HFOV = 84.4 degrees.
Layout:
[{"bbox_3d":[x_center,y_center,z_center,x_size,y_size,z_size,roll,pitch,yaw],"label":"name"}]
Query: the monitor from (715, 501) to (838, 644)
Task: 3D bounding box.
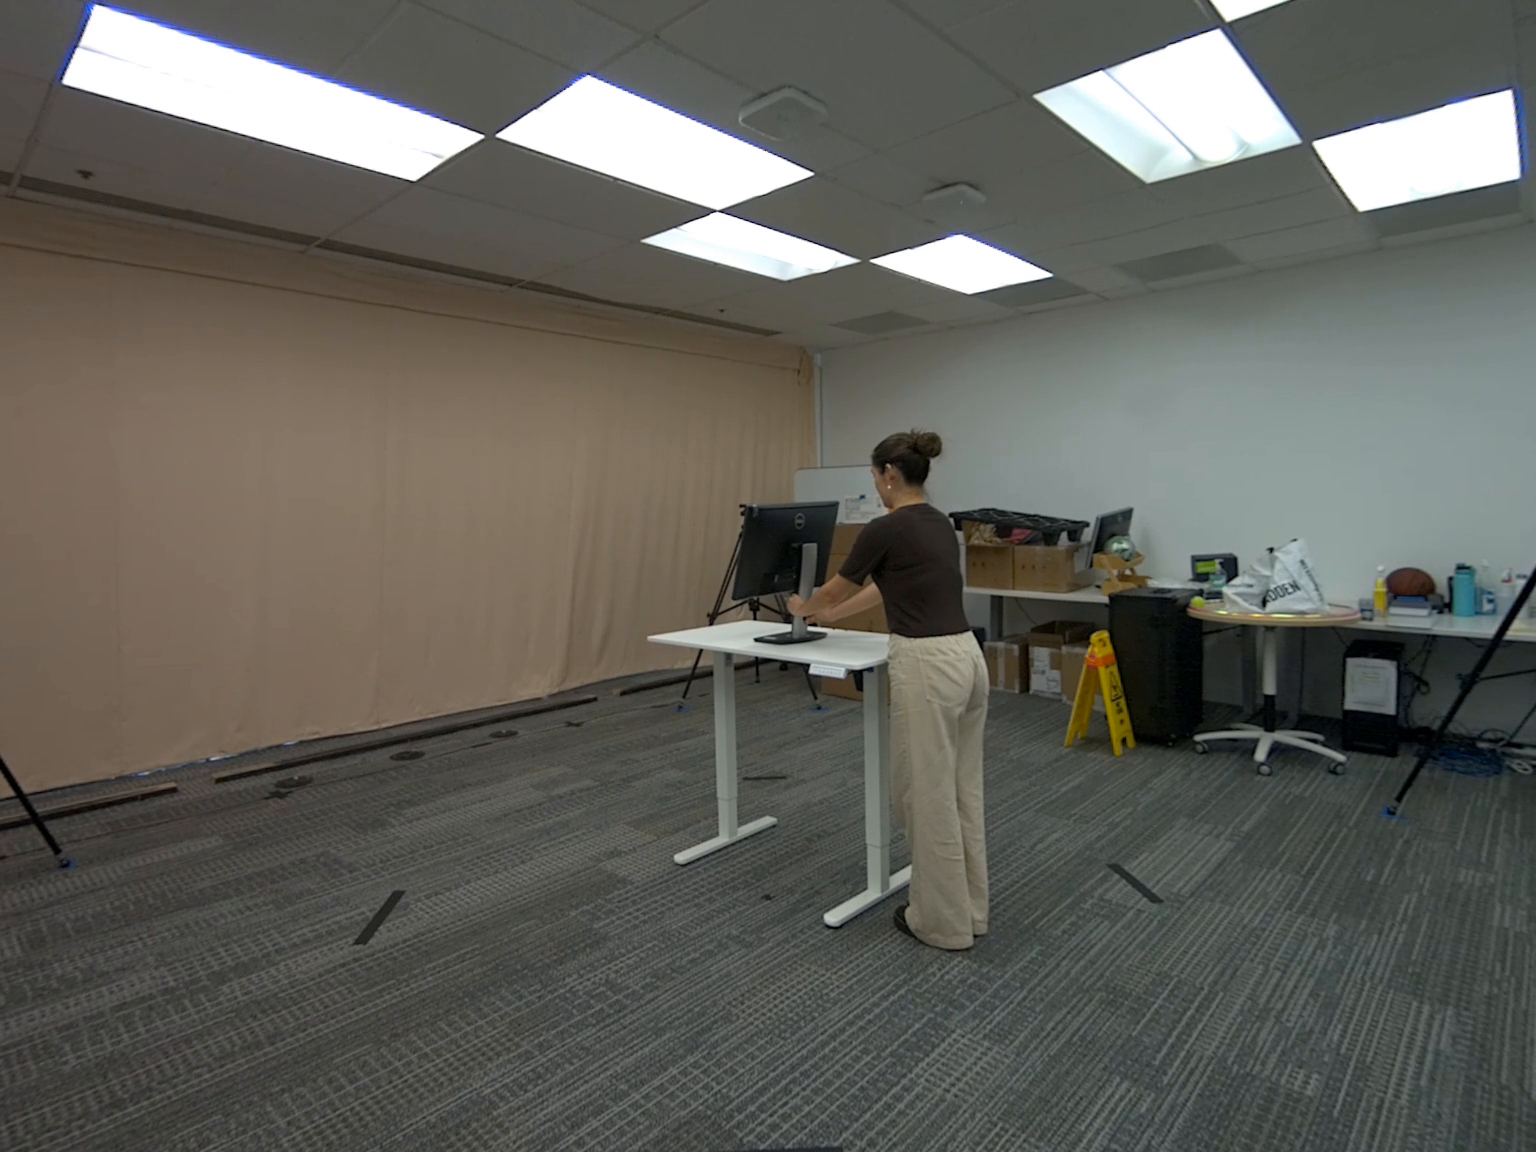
[{"bbox_3d":[0.099,-0.015,3.159,0.180,0.515,0.514,-3,3,42],"label":"monitor"}]
